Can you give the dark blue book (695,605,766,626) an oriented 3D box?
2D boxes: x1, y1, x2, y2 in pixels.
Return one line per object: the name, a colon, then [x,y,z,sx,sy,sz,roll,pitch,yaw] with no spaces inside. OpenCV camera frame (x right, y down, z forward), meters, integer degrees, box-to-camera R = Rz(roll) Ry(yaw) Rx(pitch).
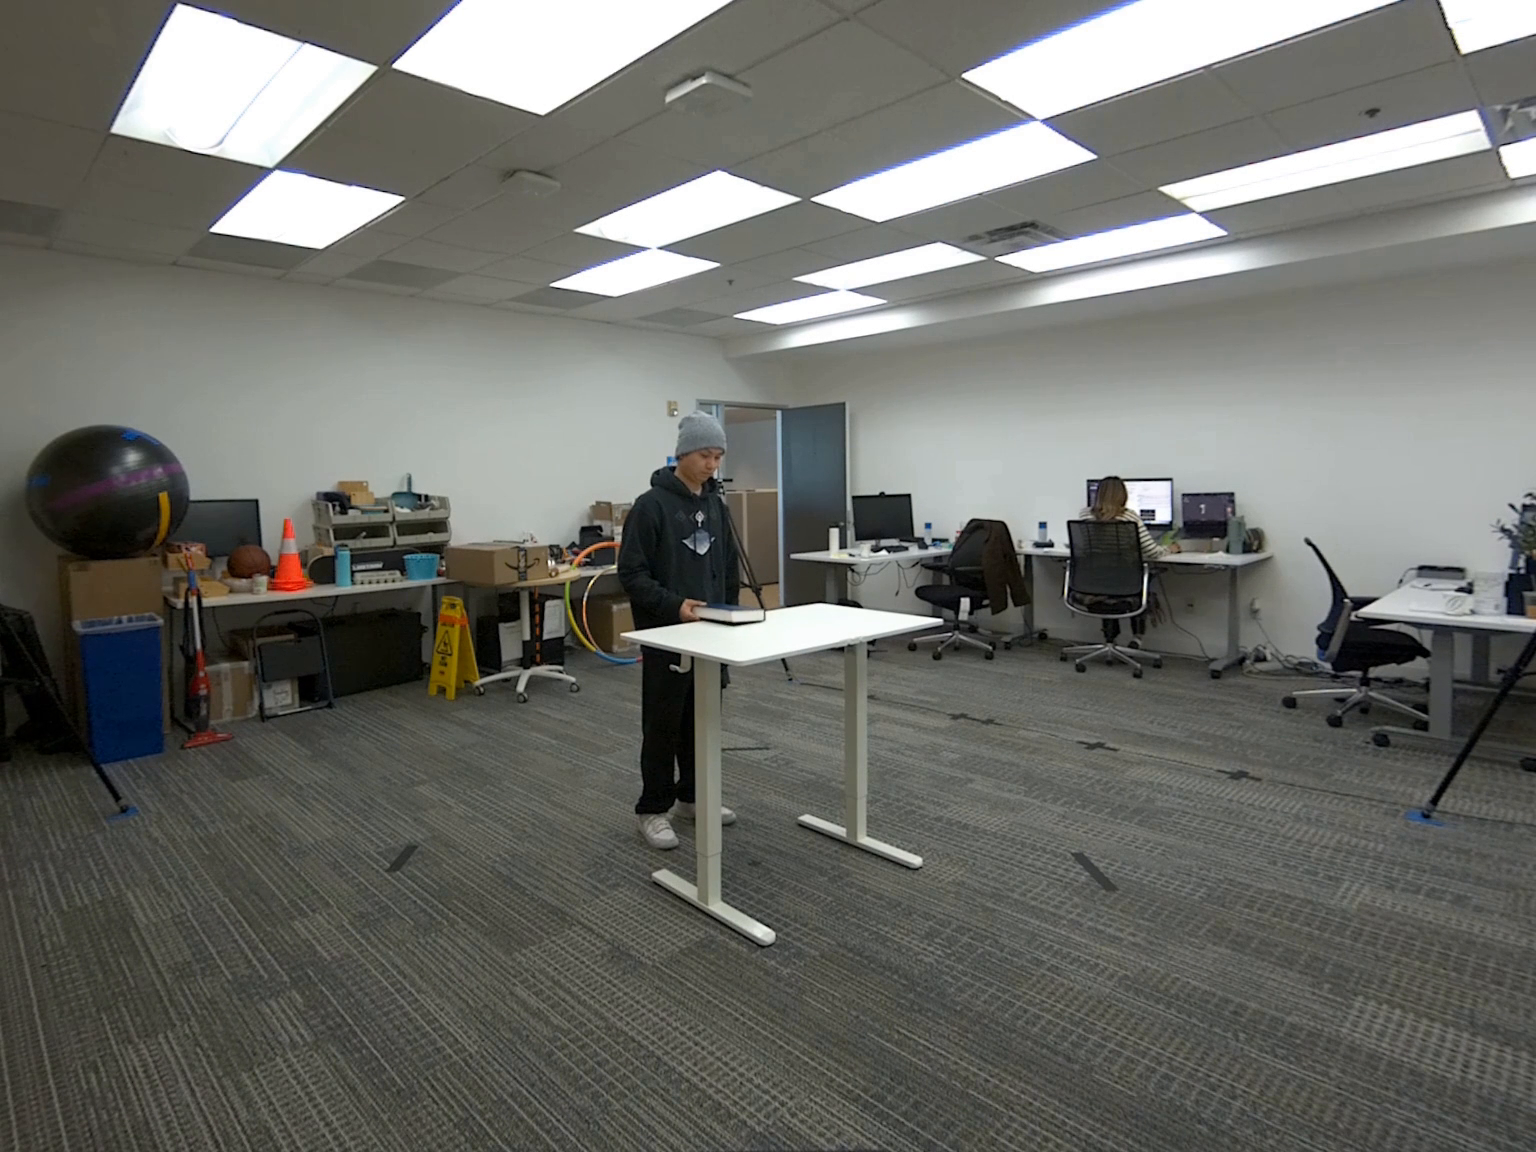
dark blue book: [-0.150,0.134,3.116,0.159,0.045,0.252,-2,3,-41]
